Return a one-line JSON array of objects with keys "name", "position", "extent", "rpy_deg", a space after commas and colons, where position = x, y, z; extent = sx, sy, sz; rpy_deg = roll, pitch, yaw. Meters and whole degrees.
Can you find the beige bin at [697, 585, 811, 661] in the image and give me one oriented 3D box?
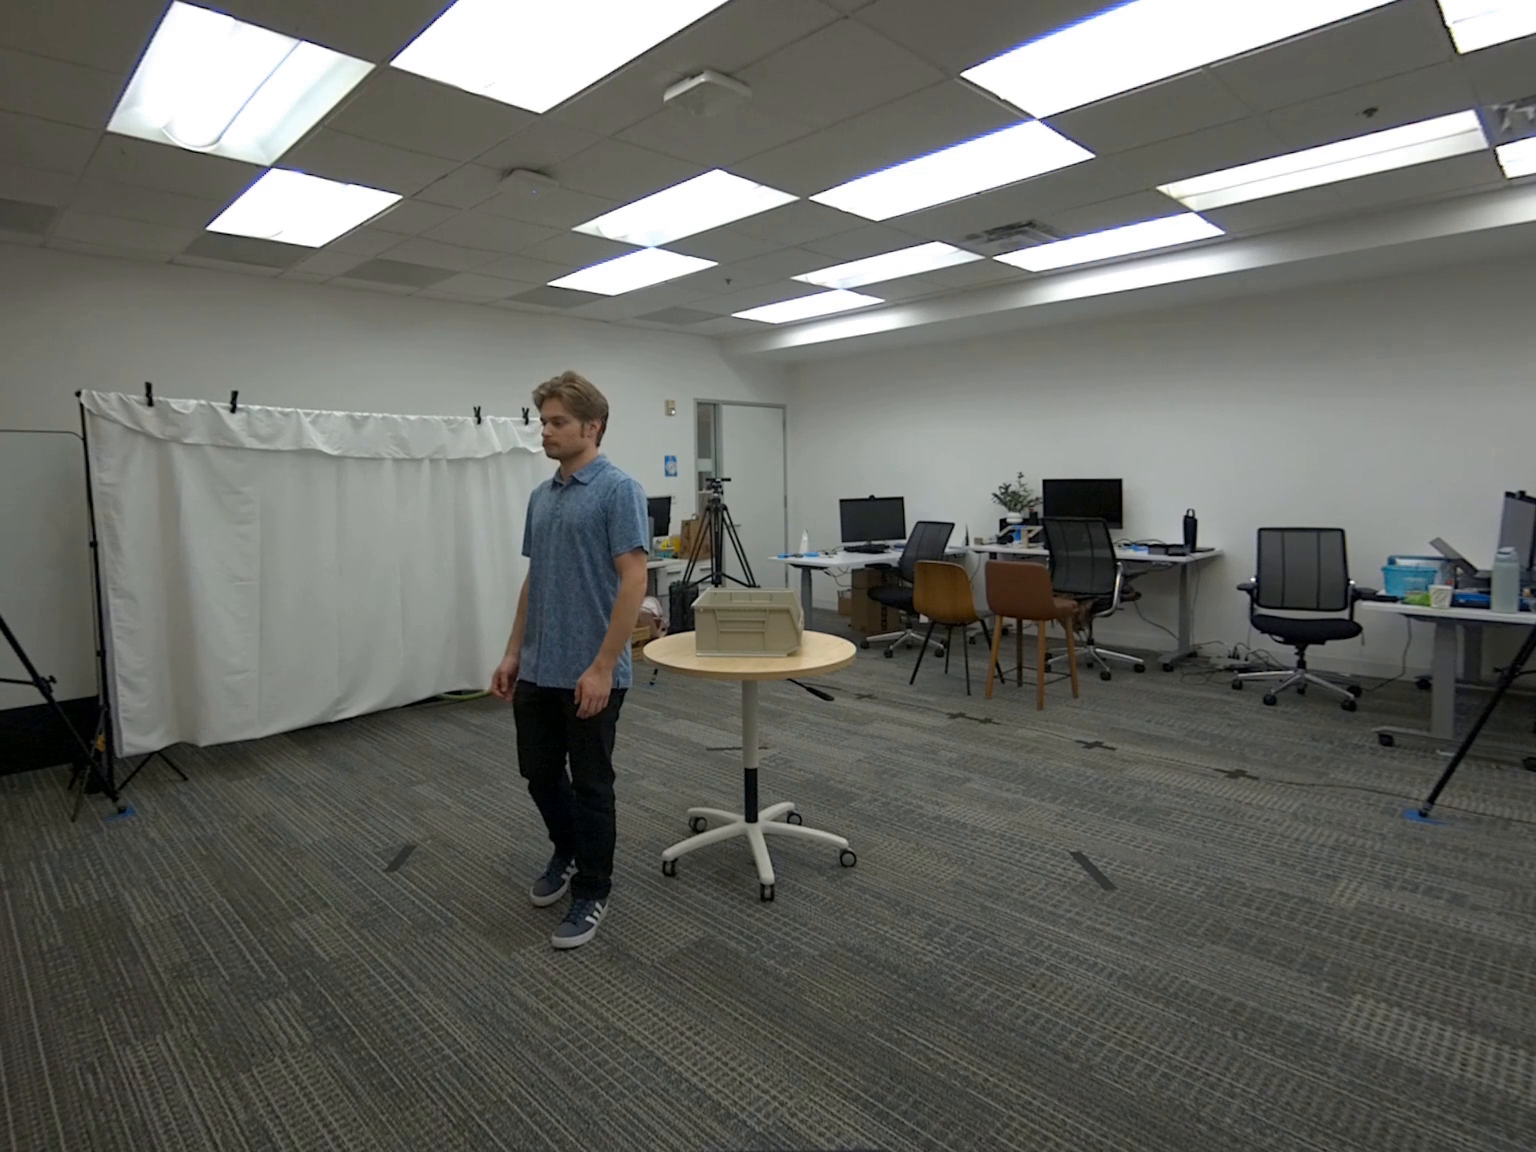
[{"name": "beige bin", "position": [-0.042, 0.162, 3.136], "extent": [0.379, 0.188, 0.422], "rpy_deg": [-3, 7, 4]}]
